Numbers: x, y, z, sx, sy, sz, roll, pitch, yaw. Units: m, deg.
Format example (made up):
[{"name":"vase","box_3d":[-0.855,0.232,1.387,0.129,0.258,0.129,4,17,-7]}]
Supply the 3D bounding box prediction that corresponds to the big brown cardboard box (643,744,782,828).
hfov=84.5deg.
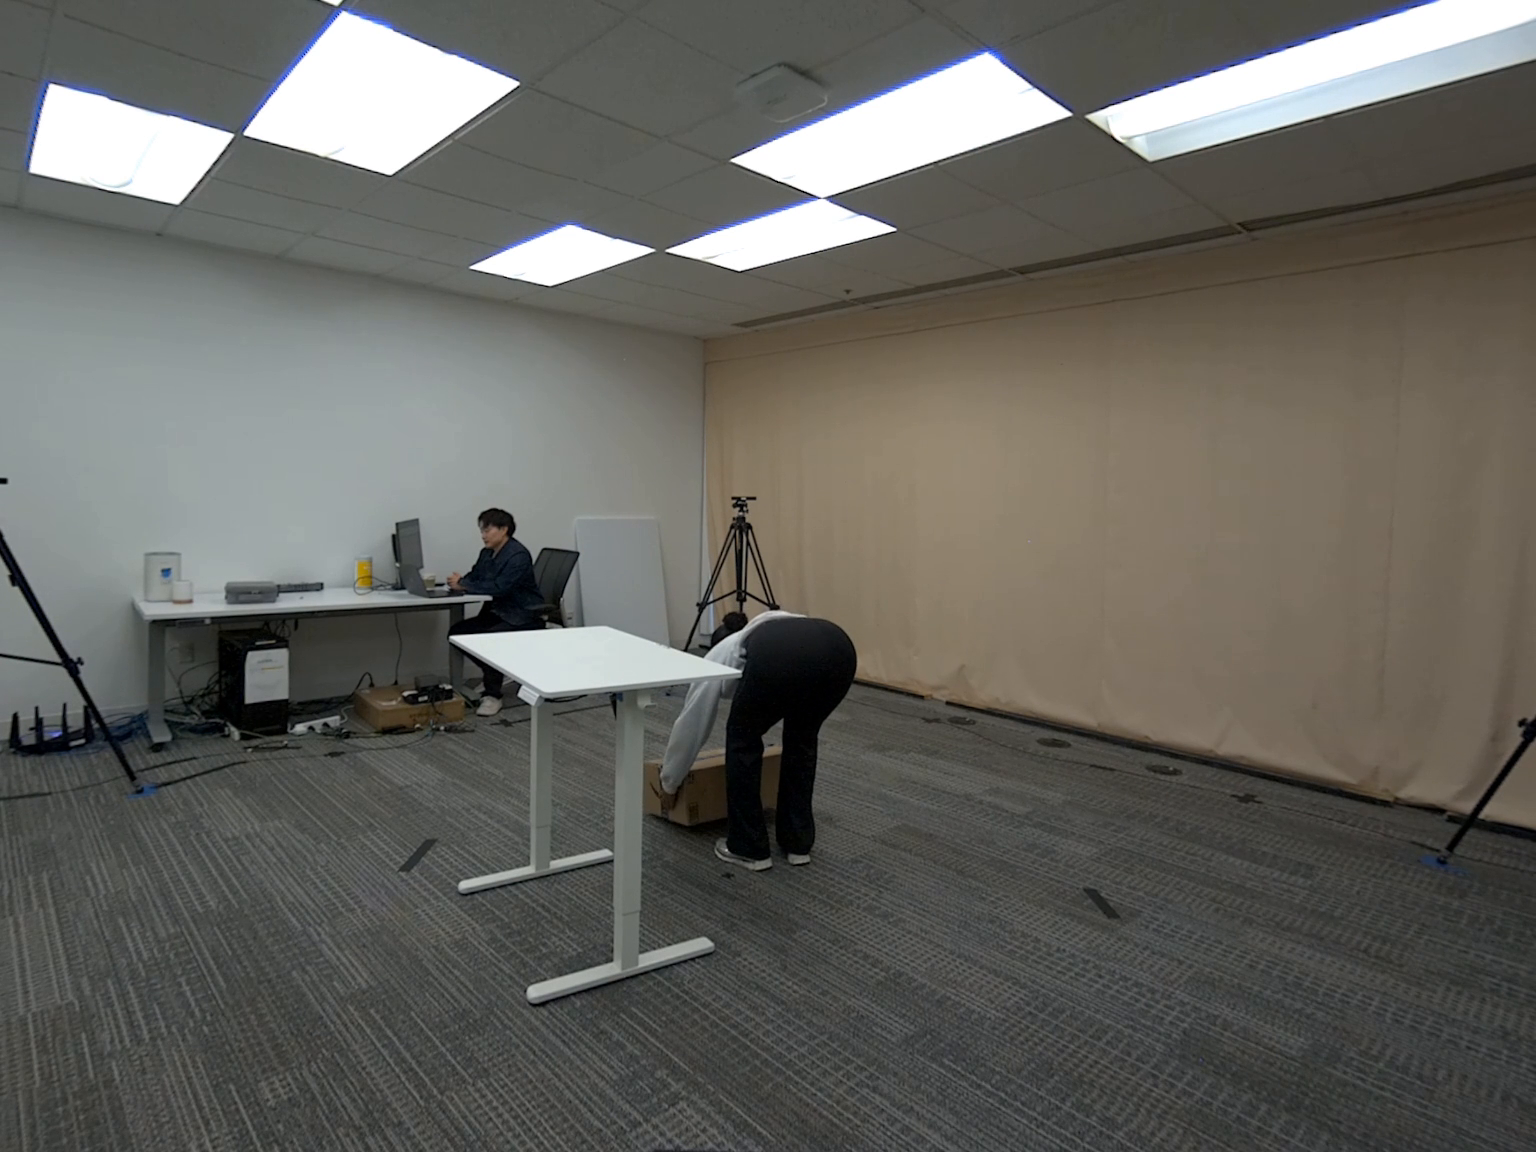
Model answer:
[{"name":"big brown cardboard box","box_3d":[-0.205,0.888,3.668,0.577,0.234,0.425,-3,-3,-32]}]
